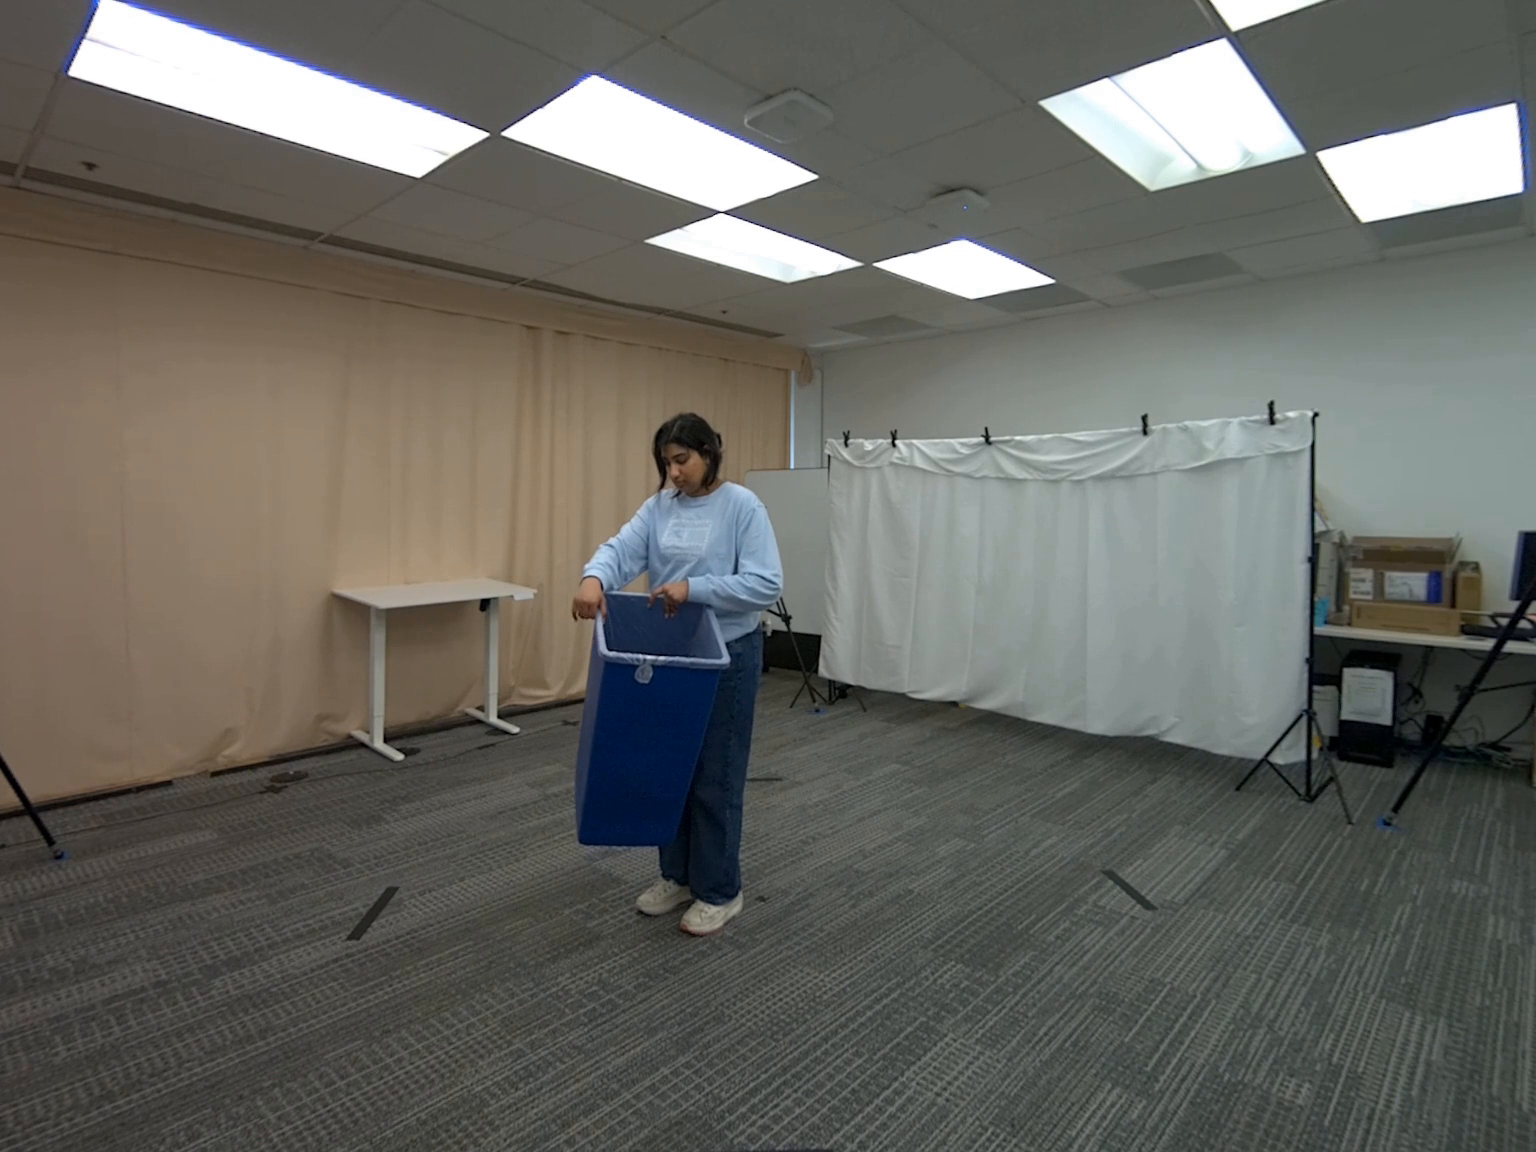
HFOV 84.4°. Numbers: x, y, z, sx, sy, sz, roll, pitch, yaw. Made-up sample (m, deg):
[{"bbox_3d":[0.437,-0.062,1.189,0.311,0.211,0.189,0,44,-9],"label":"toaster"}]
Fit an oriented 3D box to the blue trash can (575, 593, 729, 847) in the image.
[{"bbox_3d":[-0.402,0.454,2.605,0.372,0.708,0.383,7,25,-15],"label":"blue trash can"}]
